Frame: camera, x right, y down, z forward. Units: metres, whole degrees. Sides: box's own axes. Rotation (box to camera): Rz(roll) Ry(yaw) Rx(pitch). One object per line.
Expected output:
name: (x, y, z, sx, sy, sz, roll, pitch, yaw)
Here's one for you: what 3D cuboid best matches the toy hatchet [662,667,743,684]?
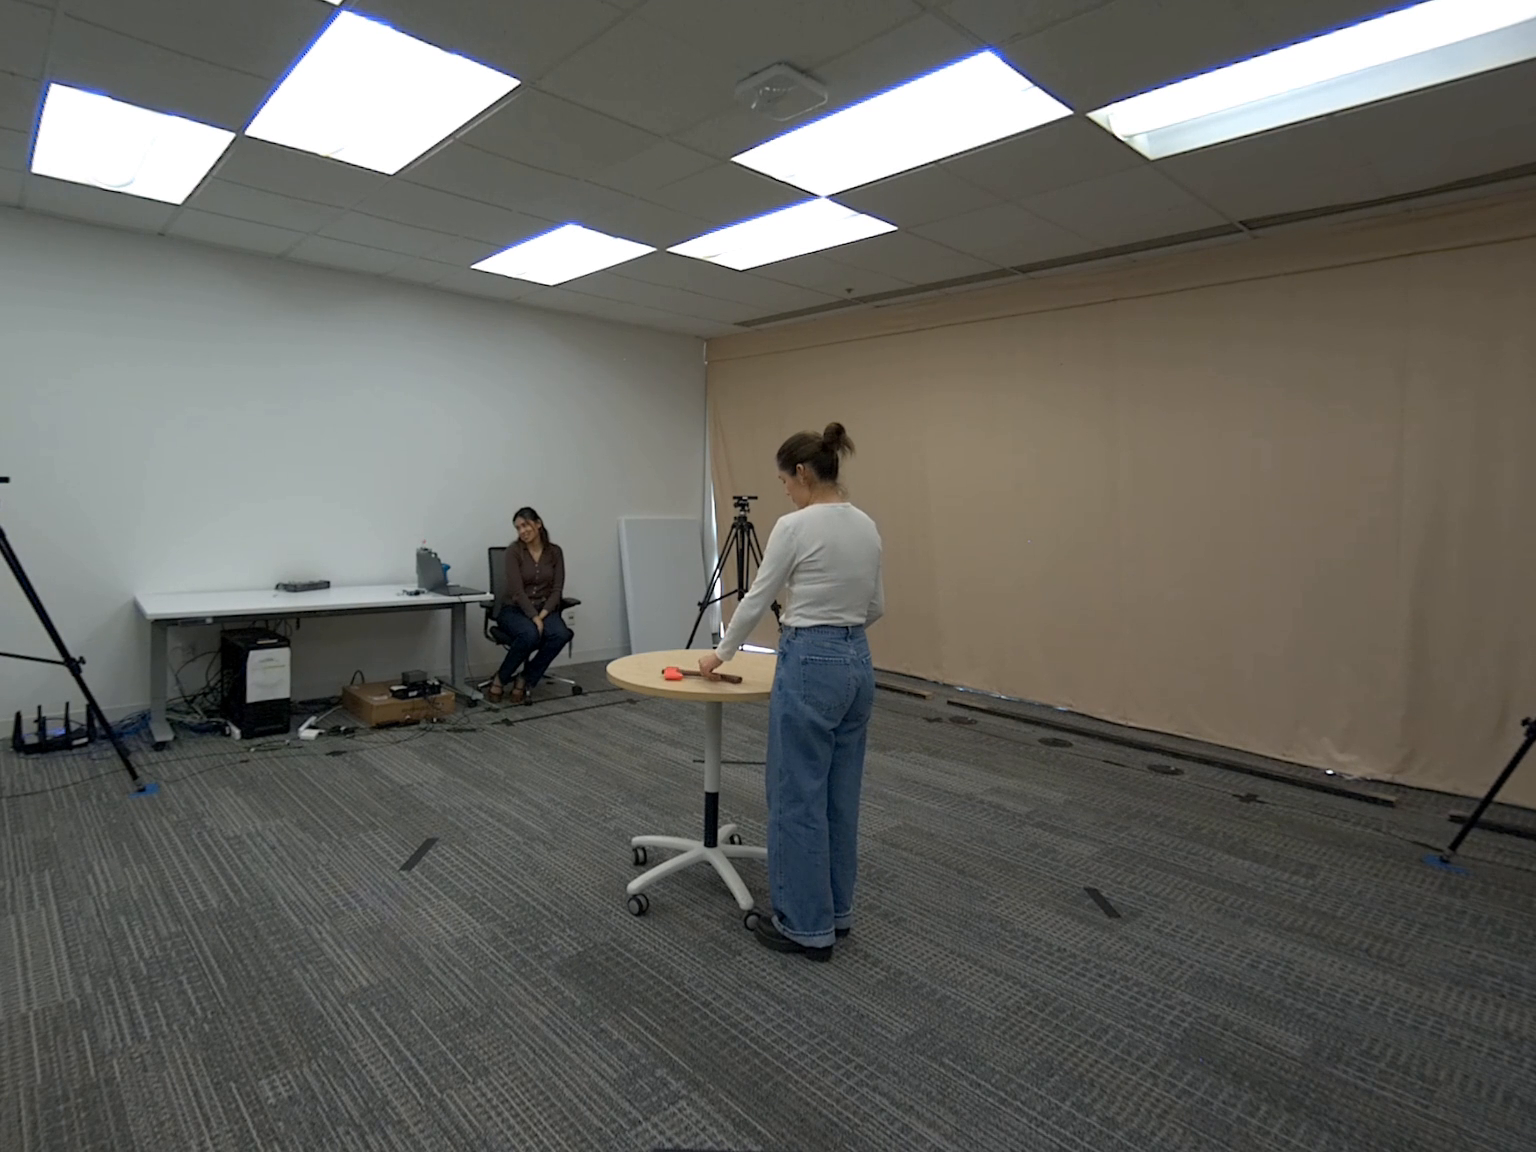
toy hatchet: (-0.236, 0.336, 2.777, 0.276, 0.029, 0.129, 6, 7, 27)
